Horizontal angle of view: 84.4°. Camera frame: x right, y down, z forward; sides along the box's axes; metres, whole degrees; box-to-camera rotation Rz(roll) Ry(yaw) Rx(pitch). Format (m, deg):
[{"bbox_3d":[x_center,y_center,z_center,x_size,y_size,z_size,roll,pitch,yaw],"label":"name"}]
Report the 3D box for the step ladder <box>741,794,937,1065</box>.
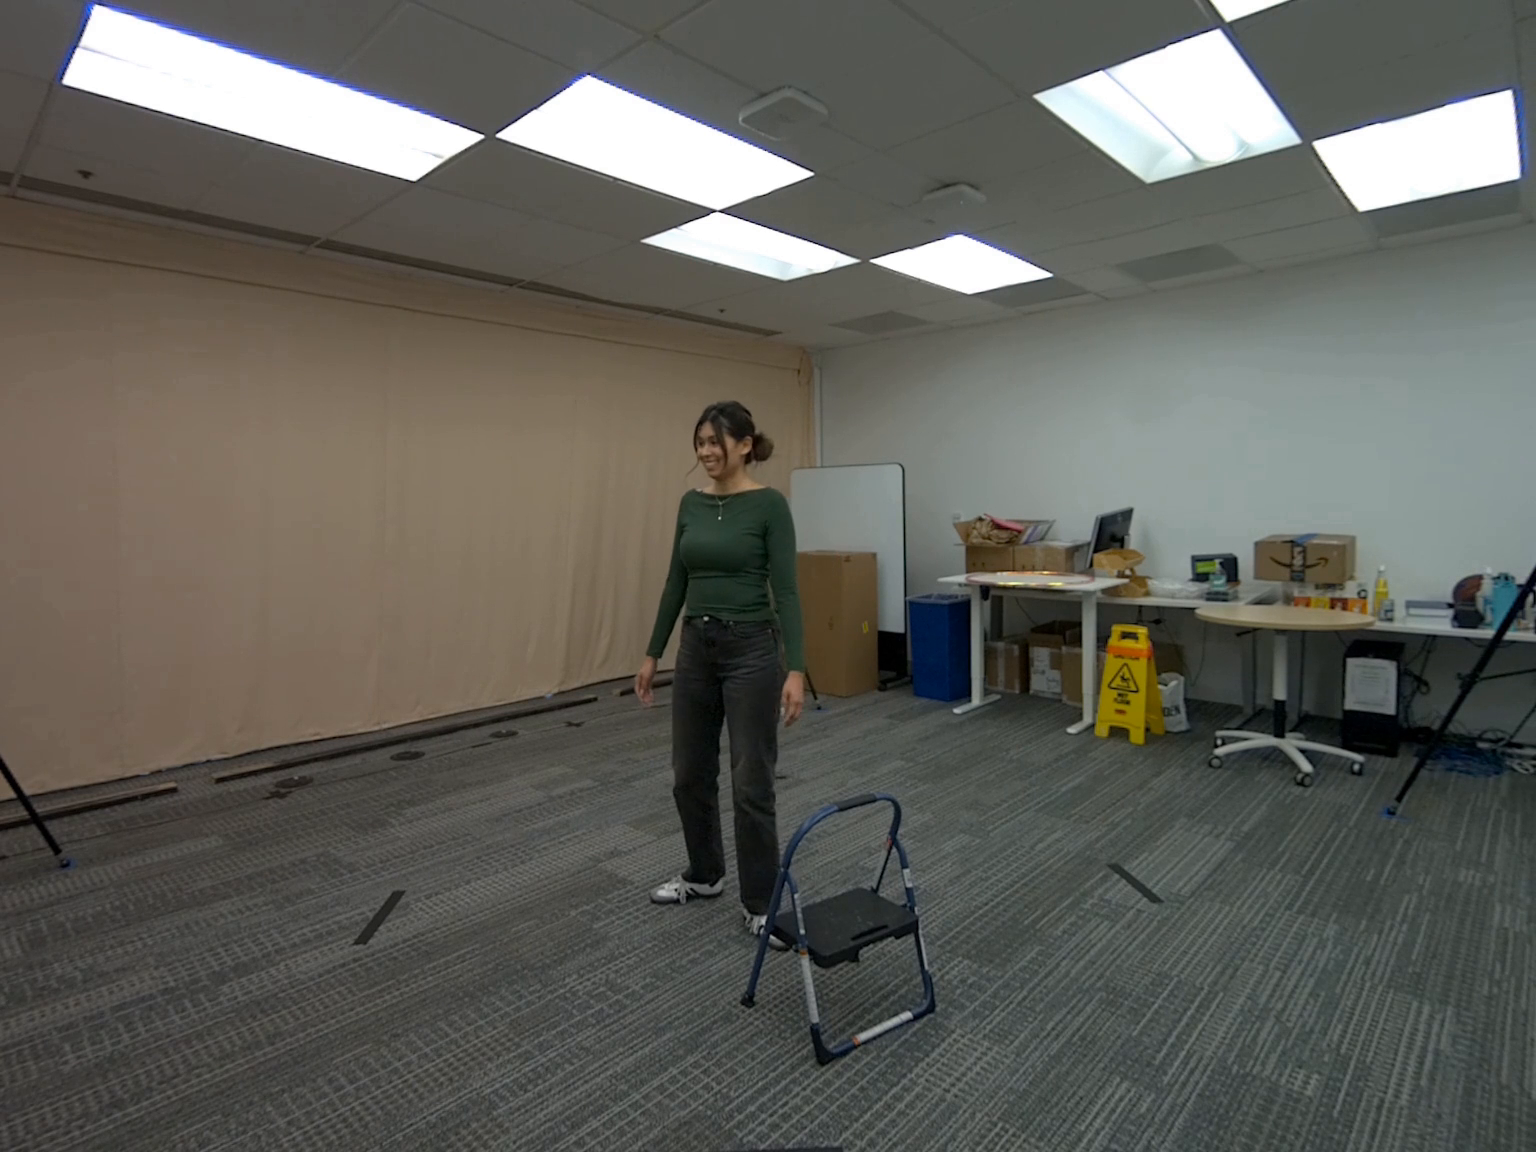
[{"bbox_3d":[0.196,0.891,2.317,0.418,0.605,0.360,-4,4,-36],"label":"step ladder"}]
